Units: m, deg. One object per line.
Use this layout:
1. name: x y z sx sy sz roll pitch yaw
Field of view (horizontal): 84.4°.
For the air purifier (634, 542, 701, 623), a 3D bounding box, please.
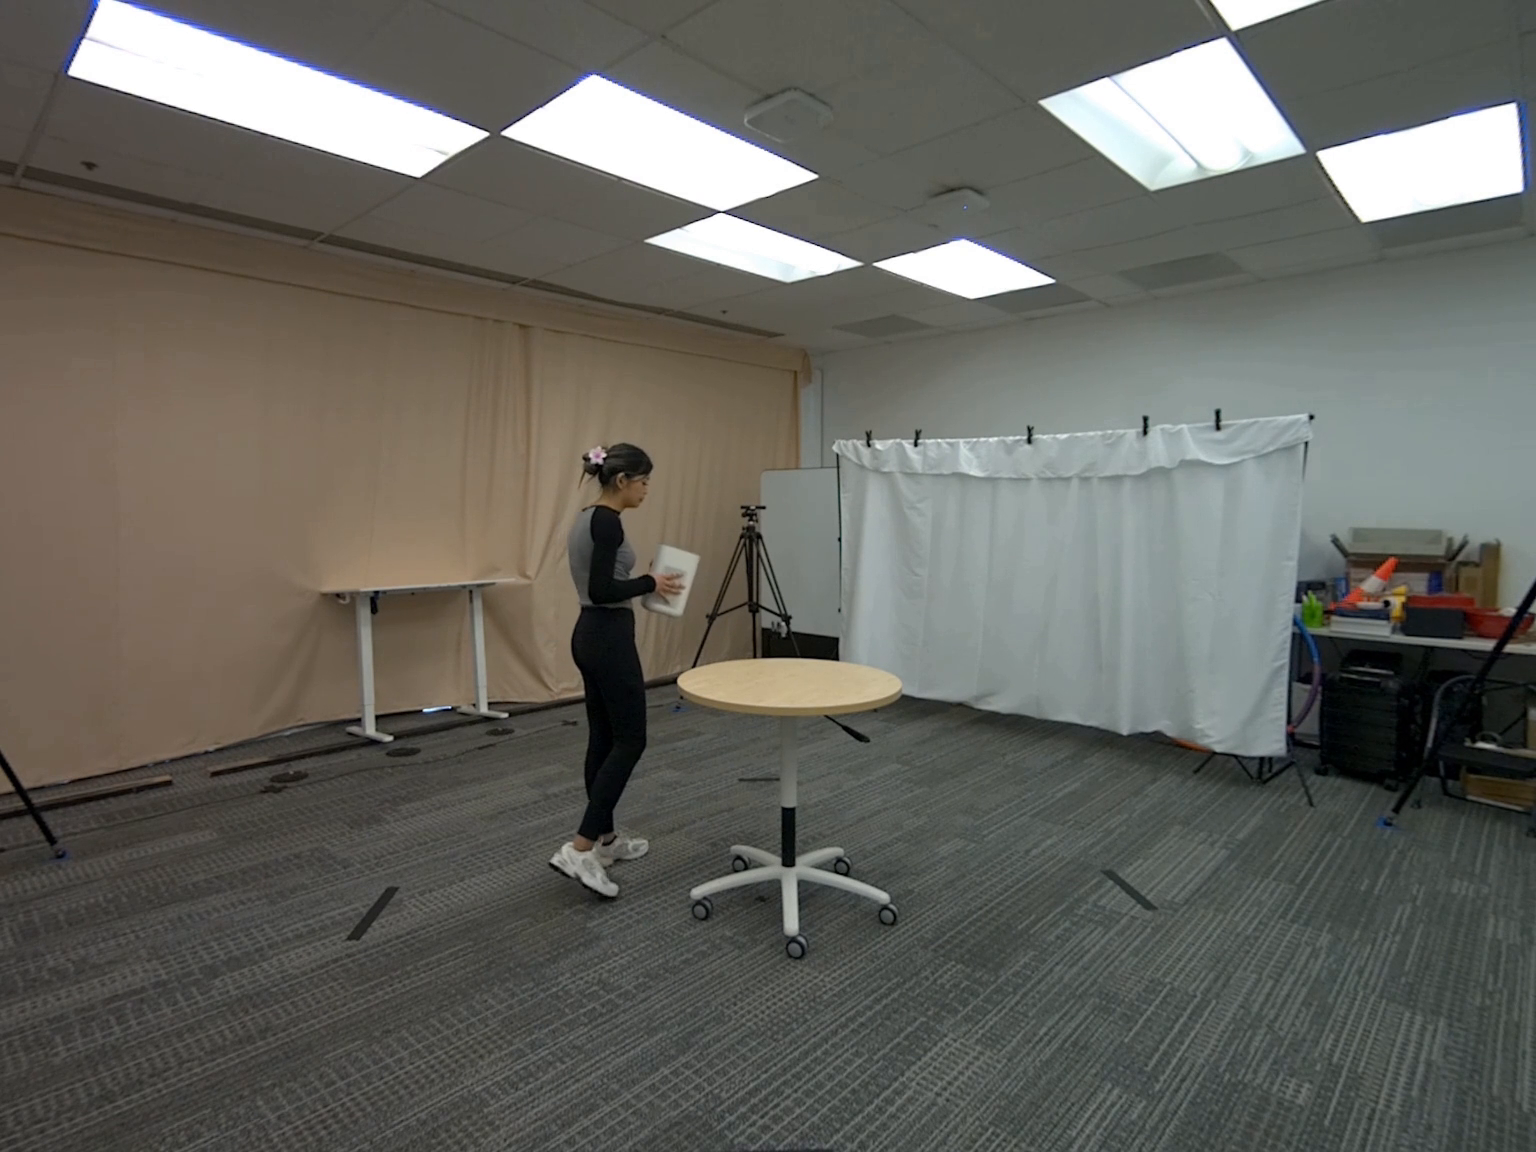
1. air purifier: -0.397 0.022 3.306 0.170 0.265 0.173 17 -3 -10
